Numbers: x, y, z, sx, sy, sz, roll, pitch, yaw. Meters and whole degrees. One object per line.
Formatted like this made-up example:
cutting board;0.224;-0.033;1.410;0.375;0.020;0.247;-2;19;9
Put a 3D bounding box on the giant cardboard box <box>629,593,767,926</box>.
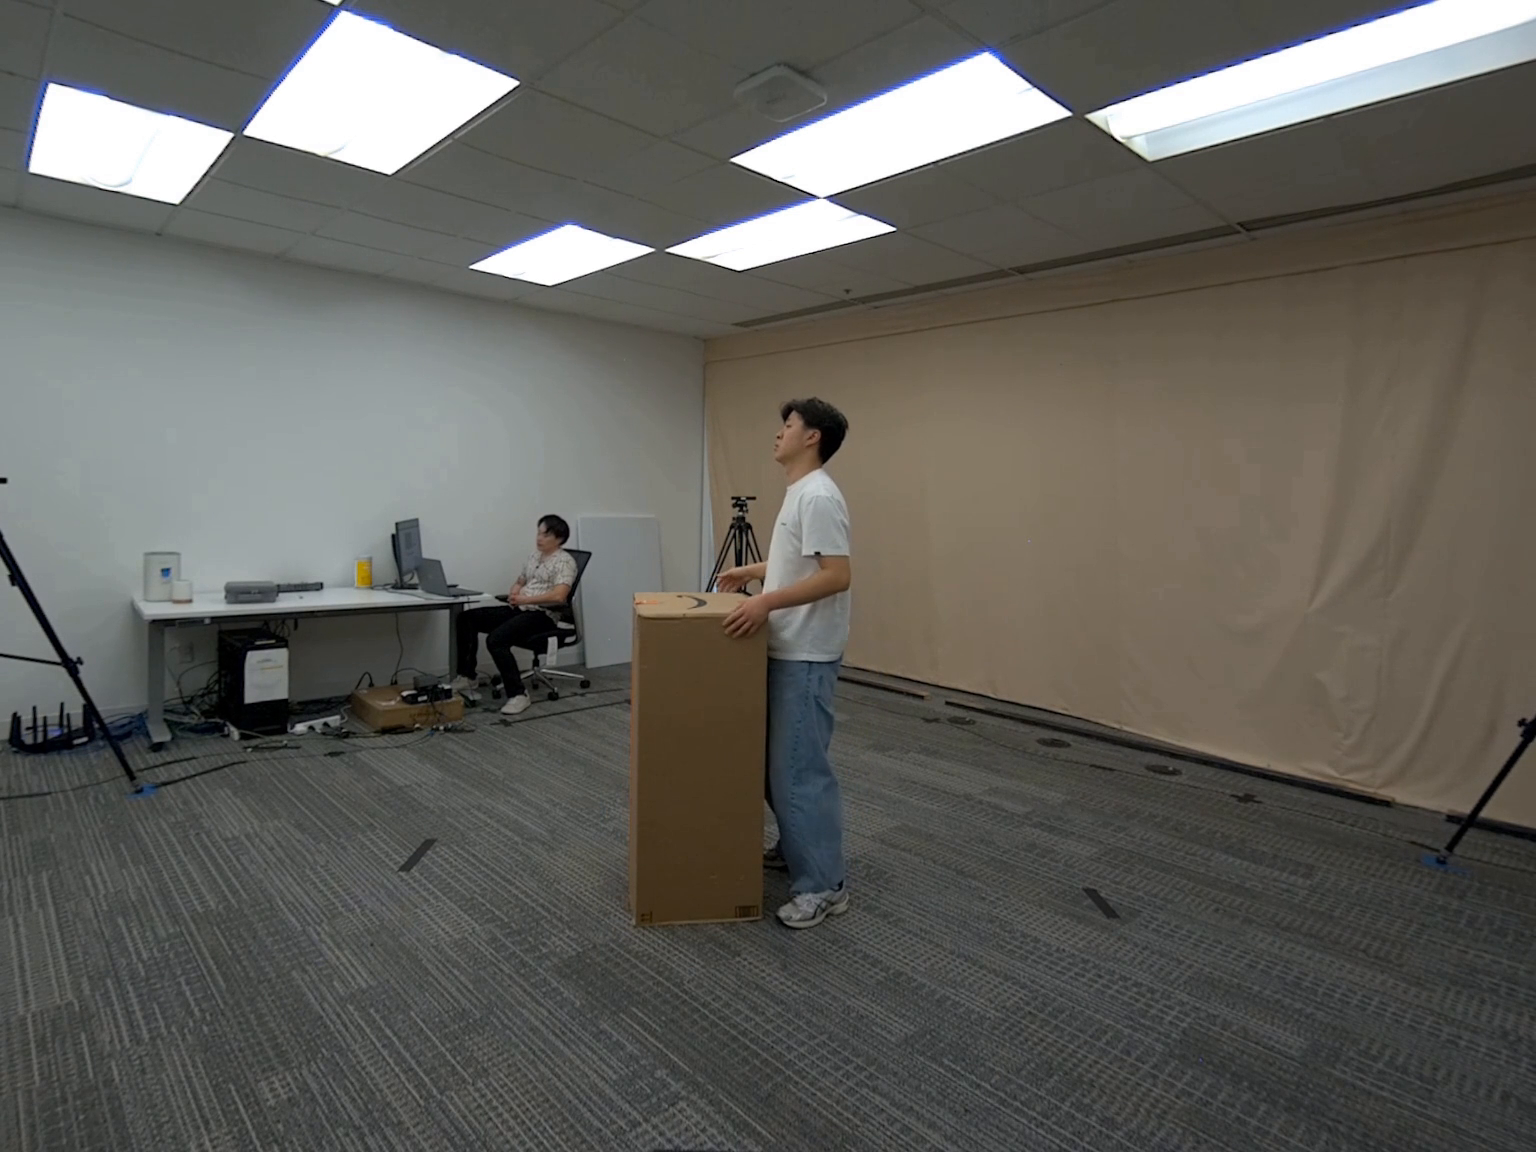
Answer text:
giant cardboard box;-0.274;0.602;2.996;0.423;1.023;0.583;1;4;-10
